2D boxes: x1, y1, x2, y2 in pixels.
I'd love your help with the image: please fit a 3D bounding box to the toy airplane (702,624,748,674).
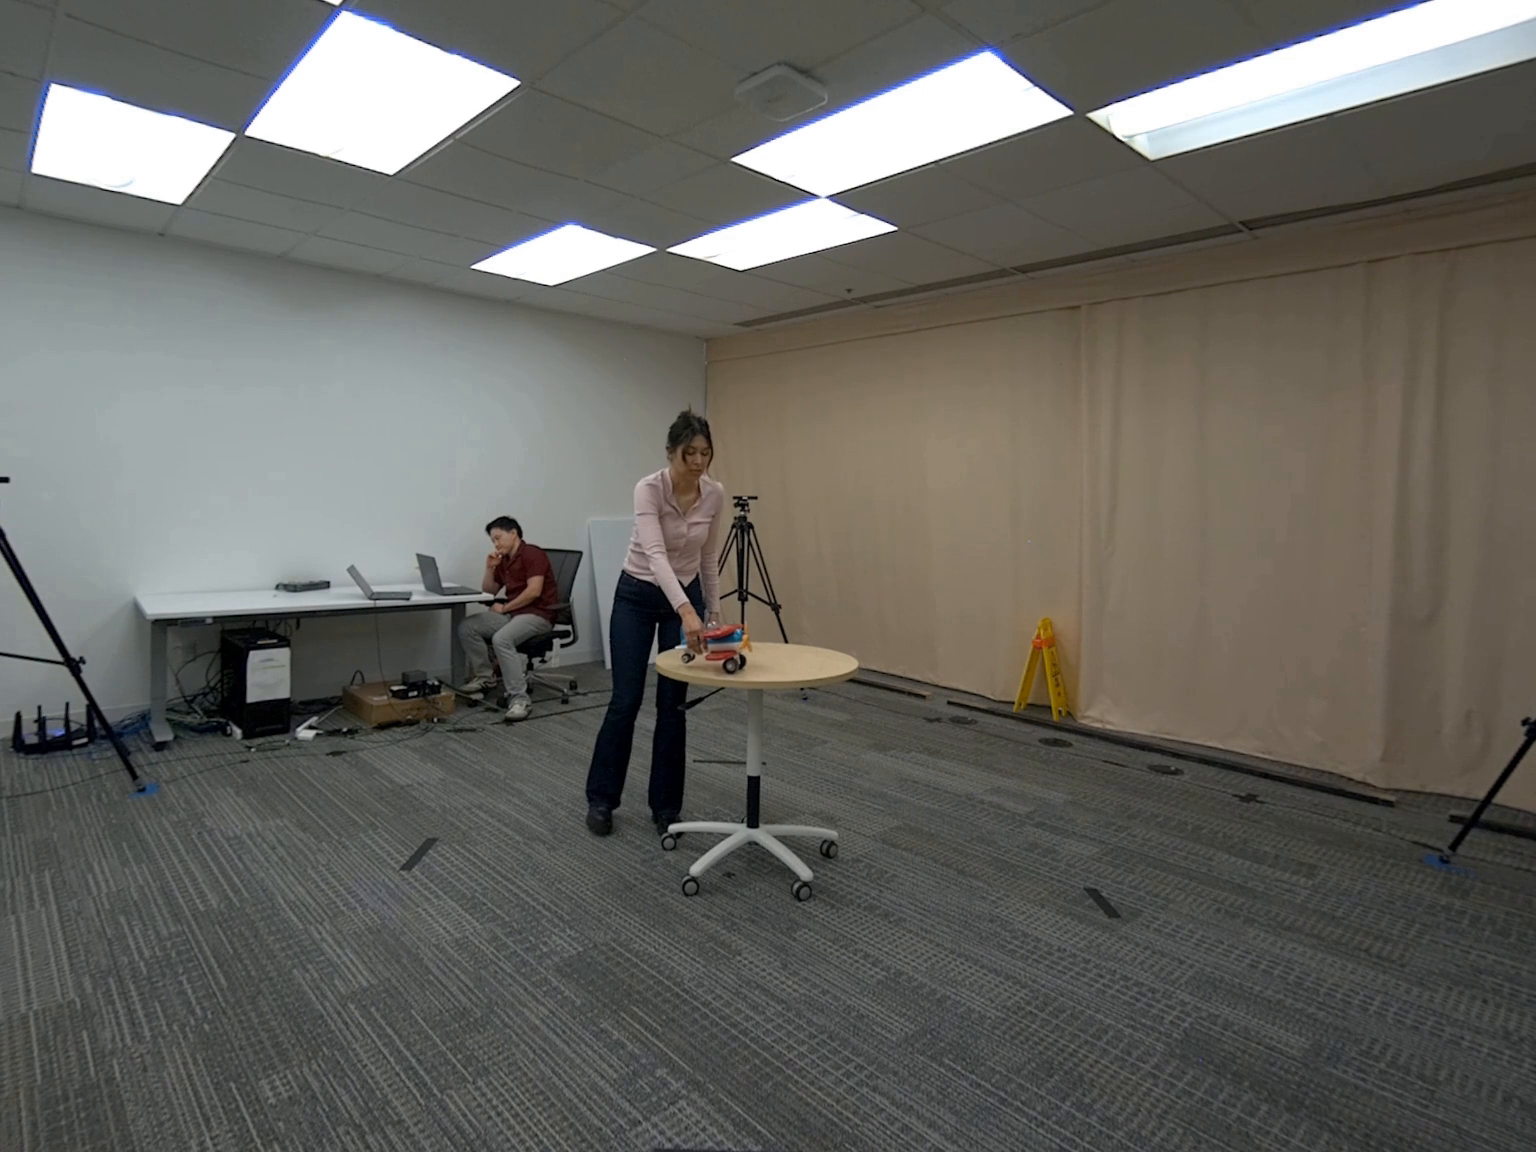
[{"bbox_3d":[-0.193,0.245,2.956,0.257,0.156,0.254,5,6,-11],"label":"toy airplane"}]
